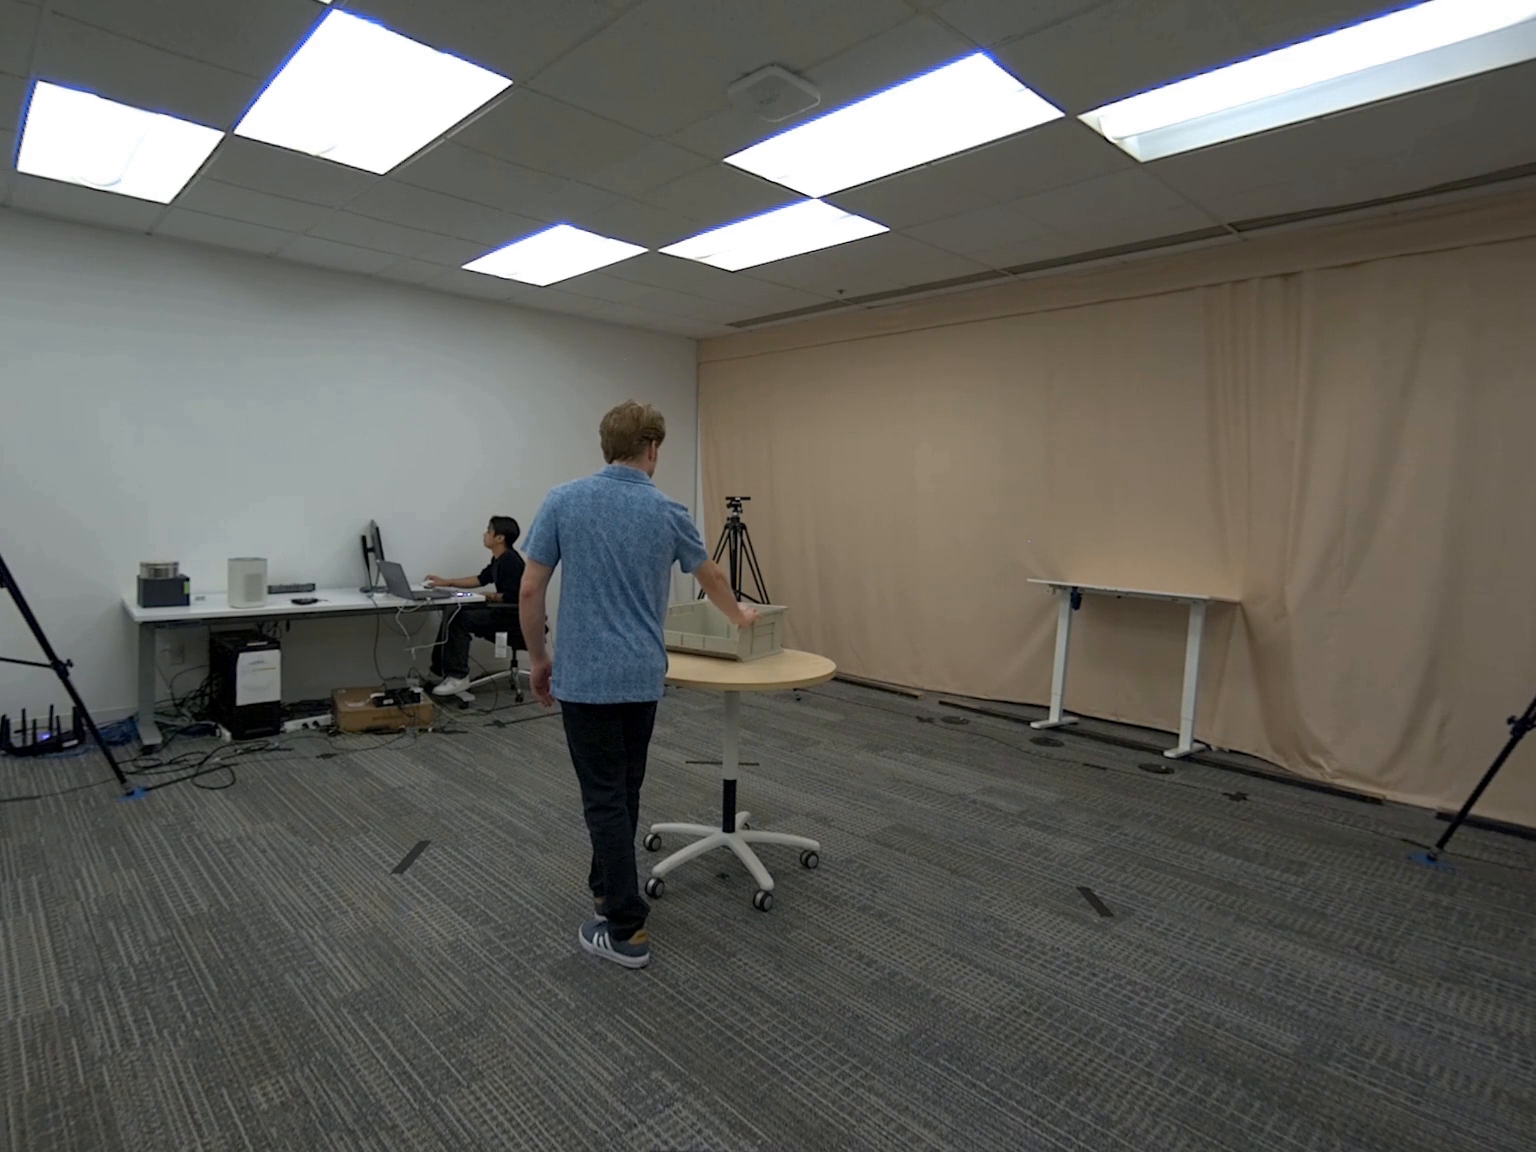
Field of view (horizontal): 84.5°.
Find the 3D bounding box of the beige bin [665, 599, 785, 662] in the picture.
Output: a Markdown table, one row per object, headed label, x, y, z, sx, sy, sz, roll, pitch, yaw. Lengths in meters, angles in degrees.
| label | x | y | z | sx | sy | sz | roll | pitch | yaw |
| --- | --- | --- | --- | --- | --- | --- | --- | --- | --- |
| beige bin | -0.199 | 0.212 | 3.350 | 0.432 | 0.189 | 0.369 | 3 | 2 | 32 |
